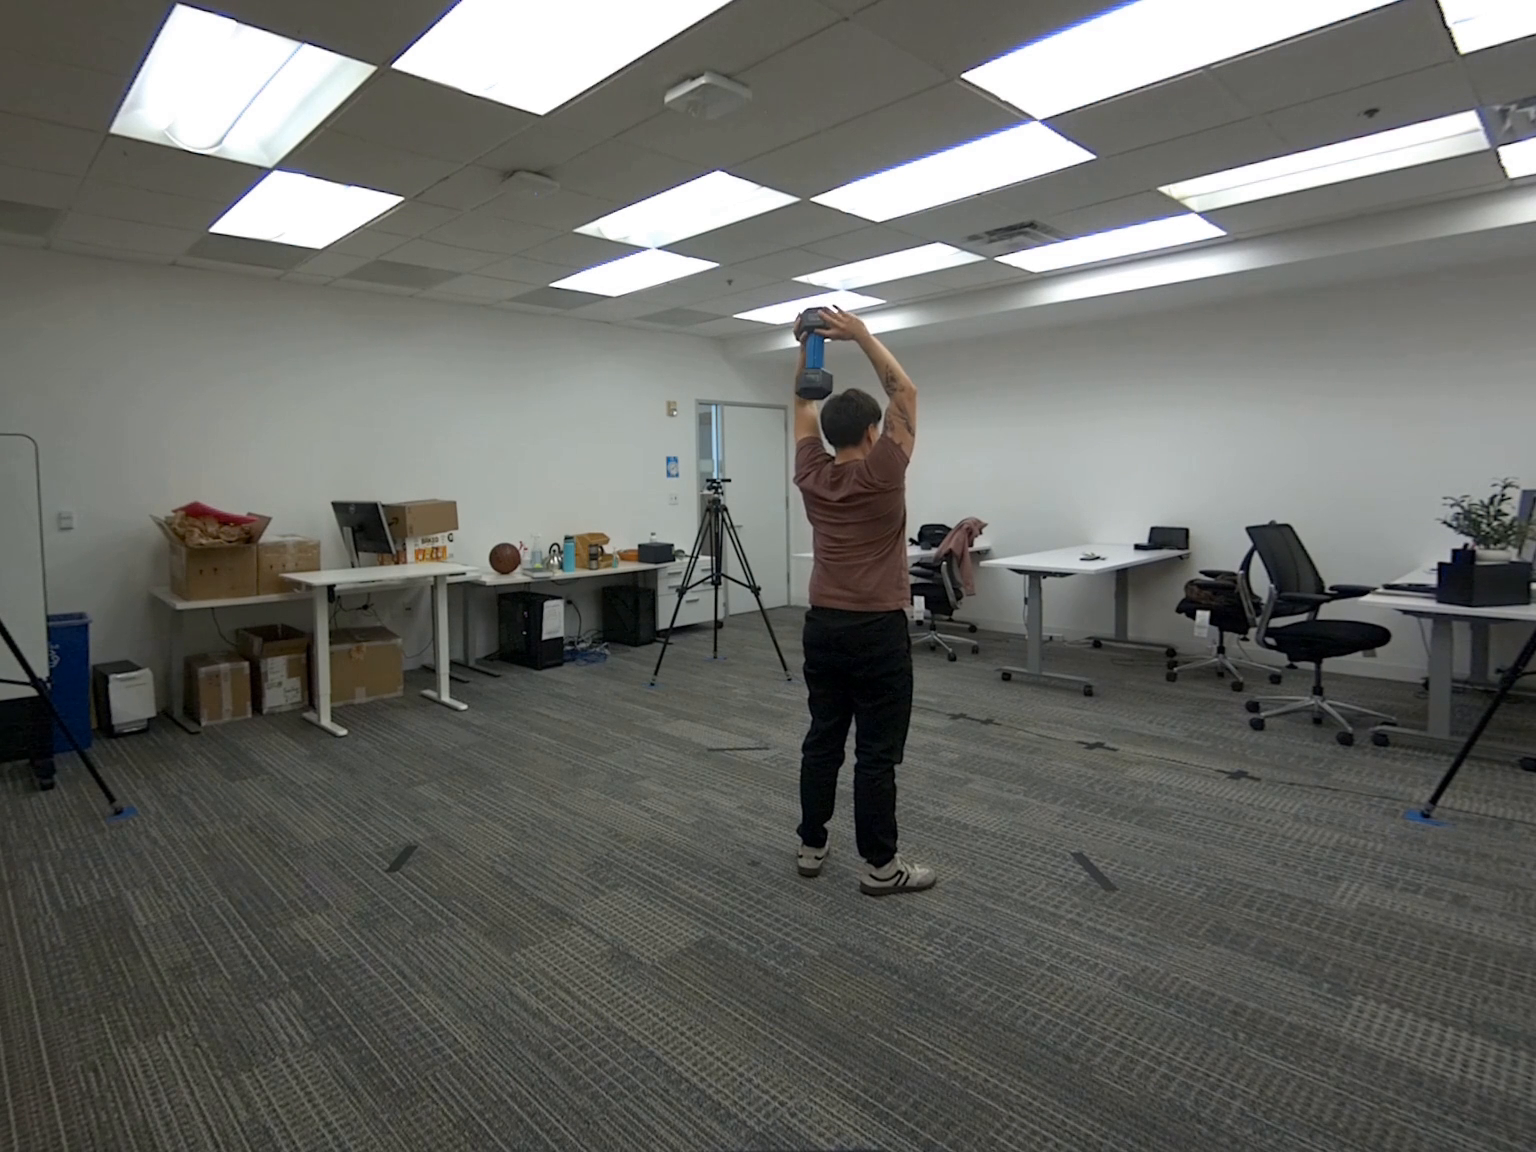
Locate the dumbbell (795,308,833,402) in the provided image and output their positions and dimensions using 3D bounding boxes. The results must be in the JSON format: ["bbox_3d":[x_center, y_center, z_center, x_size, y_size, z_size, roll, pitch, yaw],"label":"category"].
[{"bbox_3d":[0.153,-0.715,2.795,0.119,0.296,0.111,14,-15,-40],"label":"dumbbell"}]
